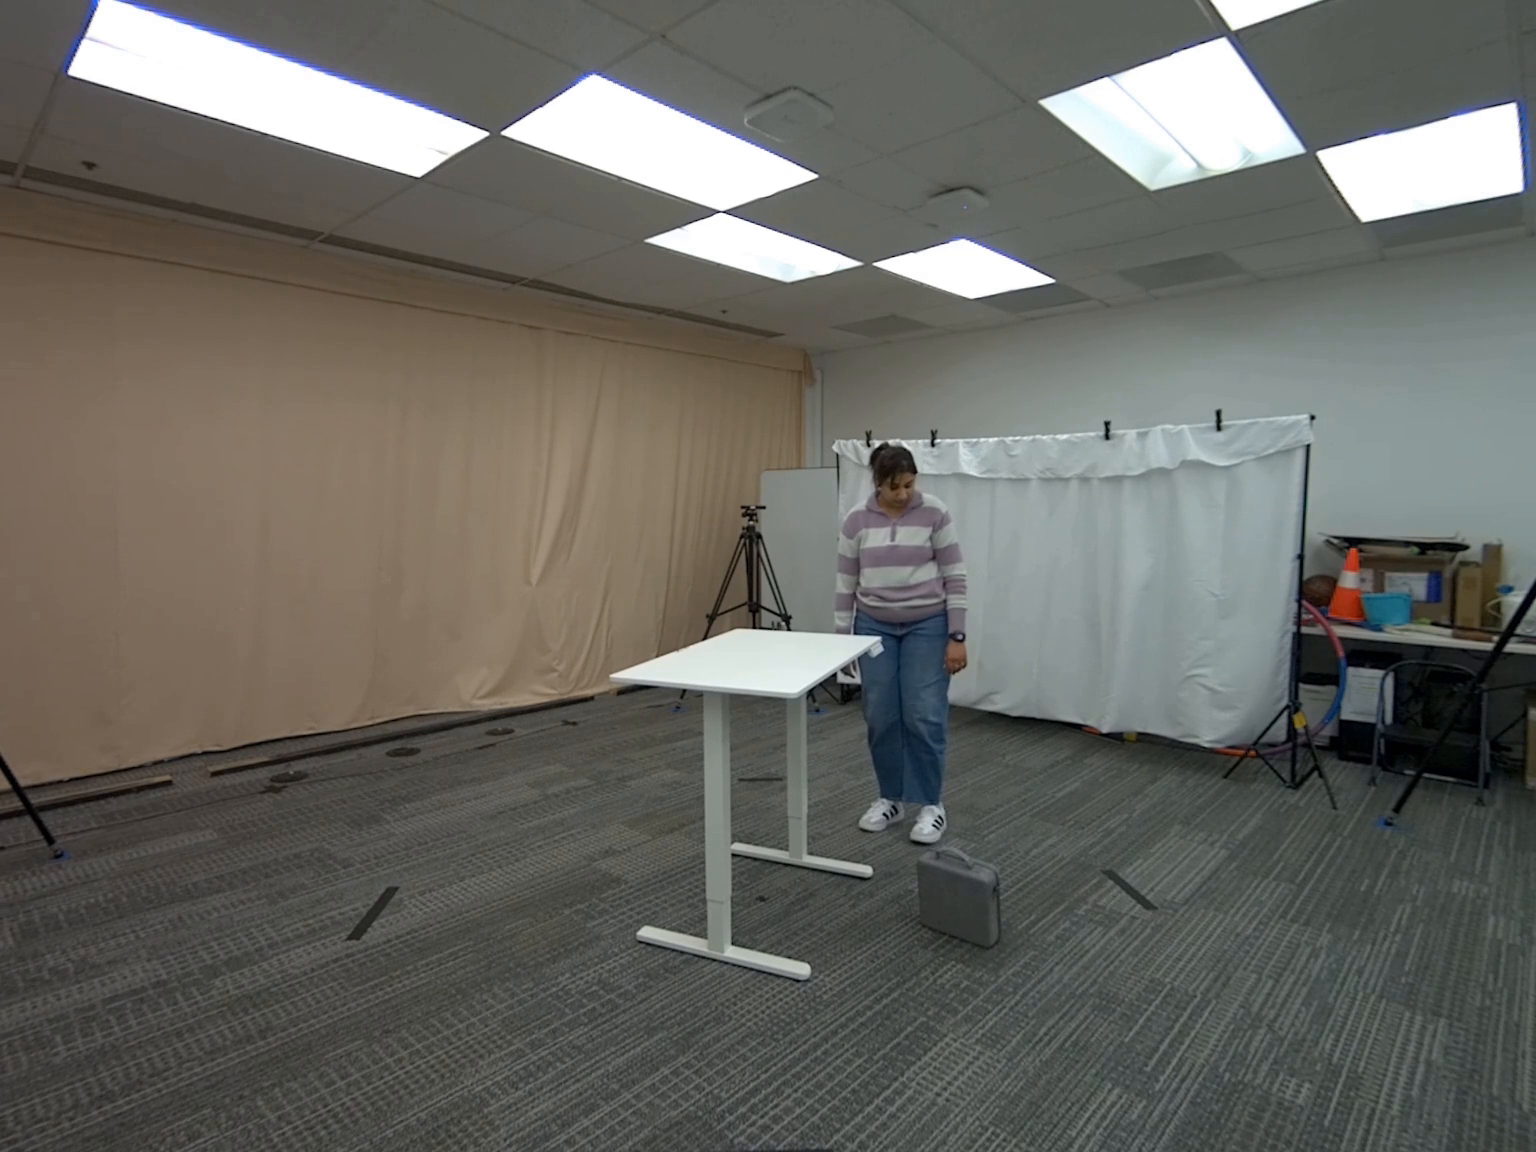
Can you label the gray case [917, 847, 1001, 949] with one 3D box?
[{"bbox_3d":[0.624,1.035,2.714,0.265,0.258,0.102,6,16,41],"label":"gray case"}]
